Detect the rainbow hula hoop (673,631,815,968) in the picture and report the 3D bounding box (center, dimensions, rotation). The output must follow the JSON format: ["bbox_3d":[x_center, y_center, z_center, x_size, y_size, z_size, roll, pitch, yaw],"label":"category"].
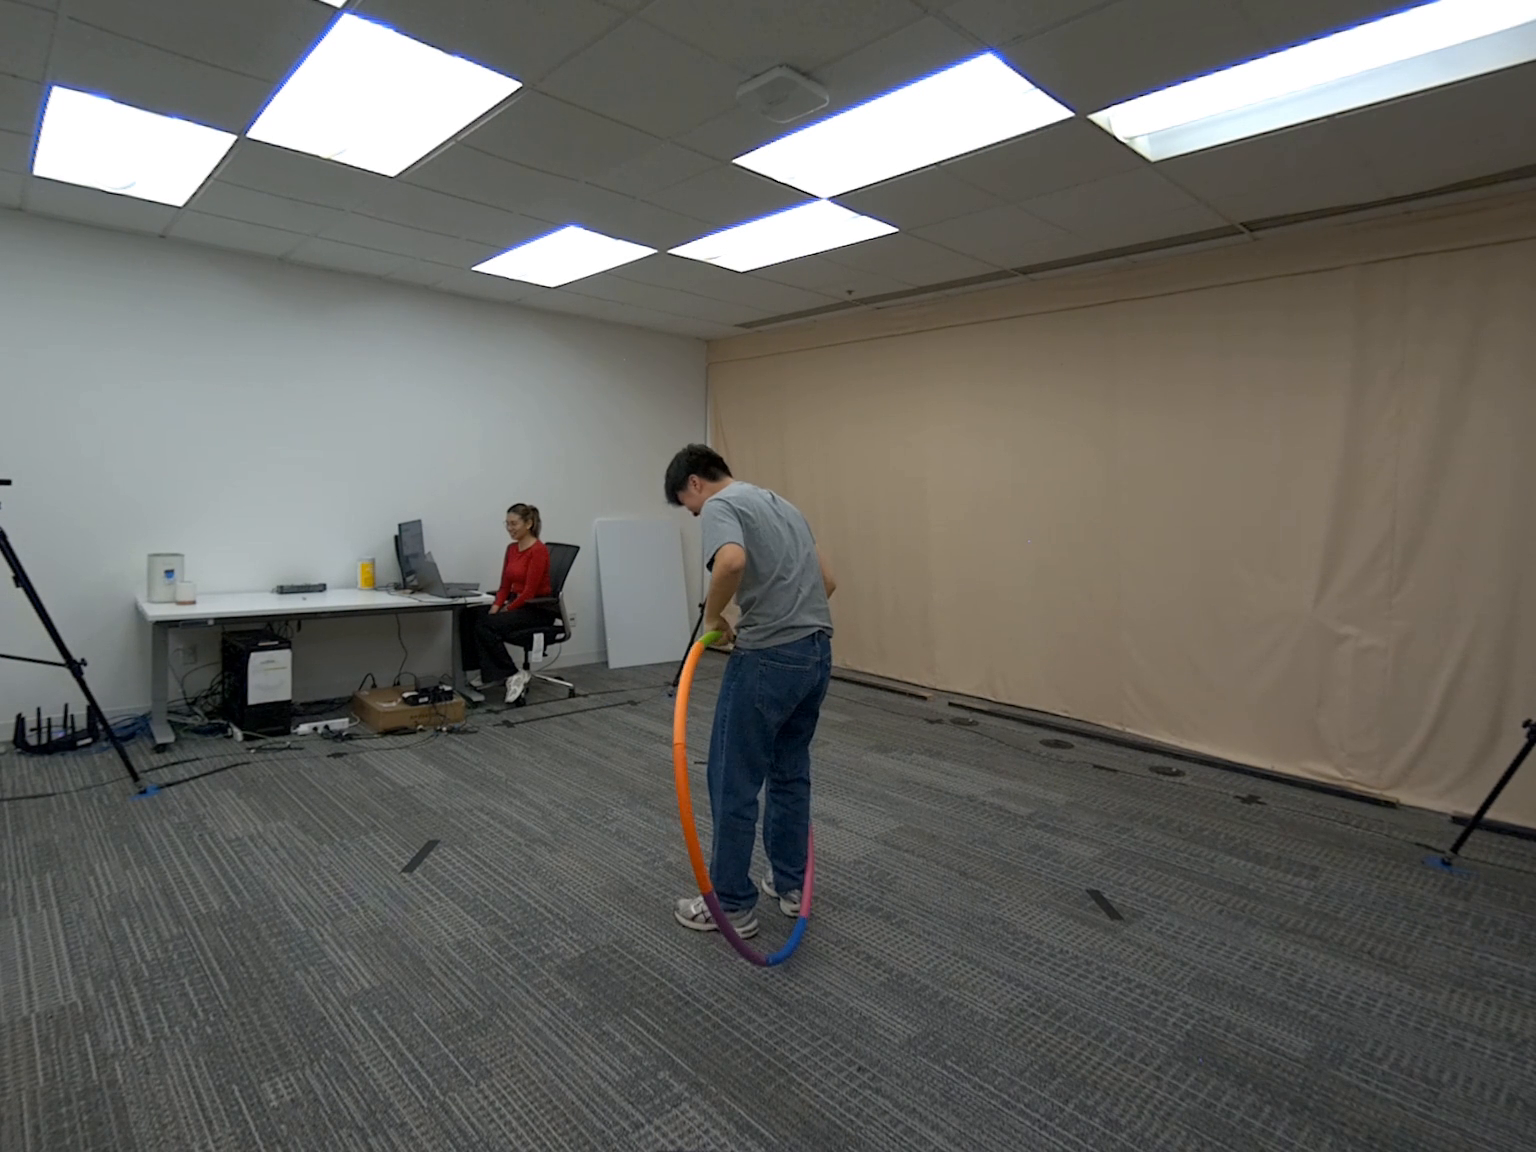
[{"bbox_3d":[-0.064,0.645,2.608,0.036,0.981,0.967,-16,-1,18],"label":"rainbow hula hoop"}]
